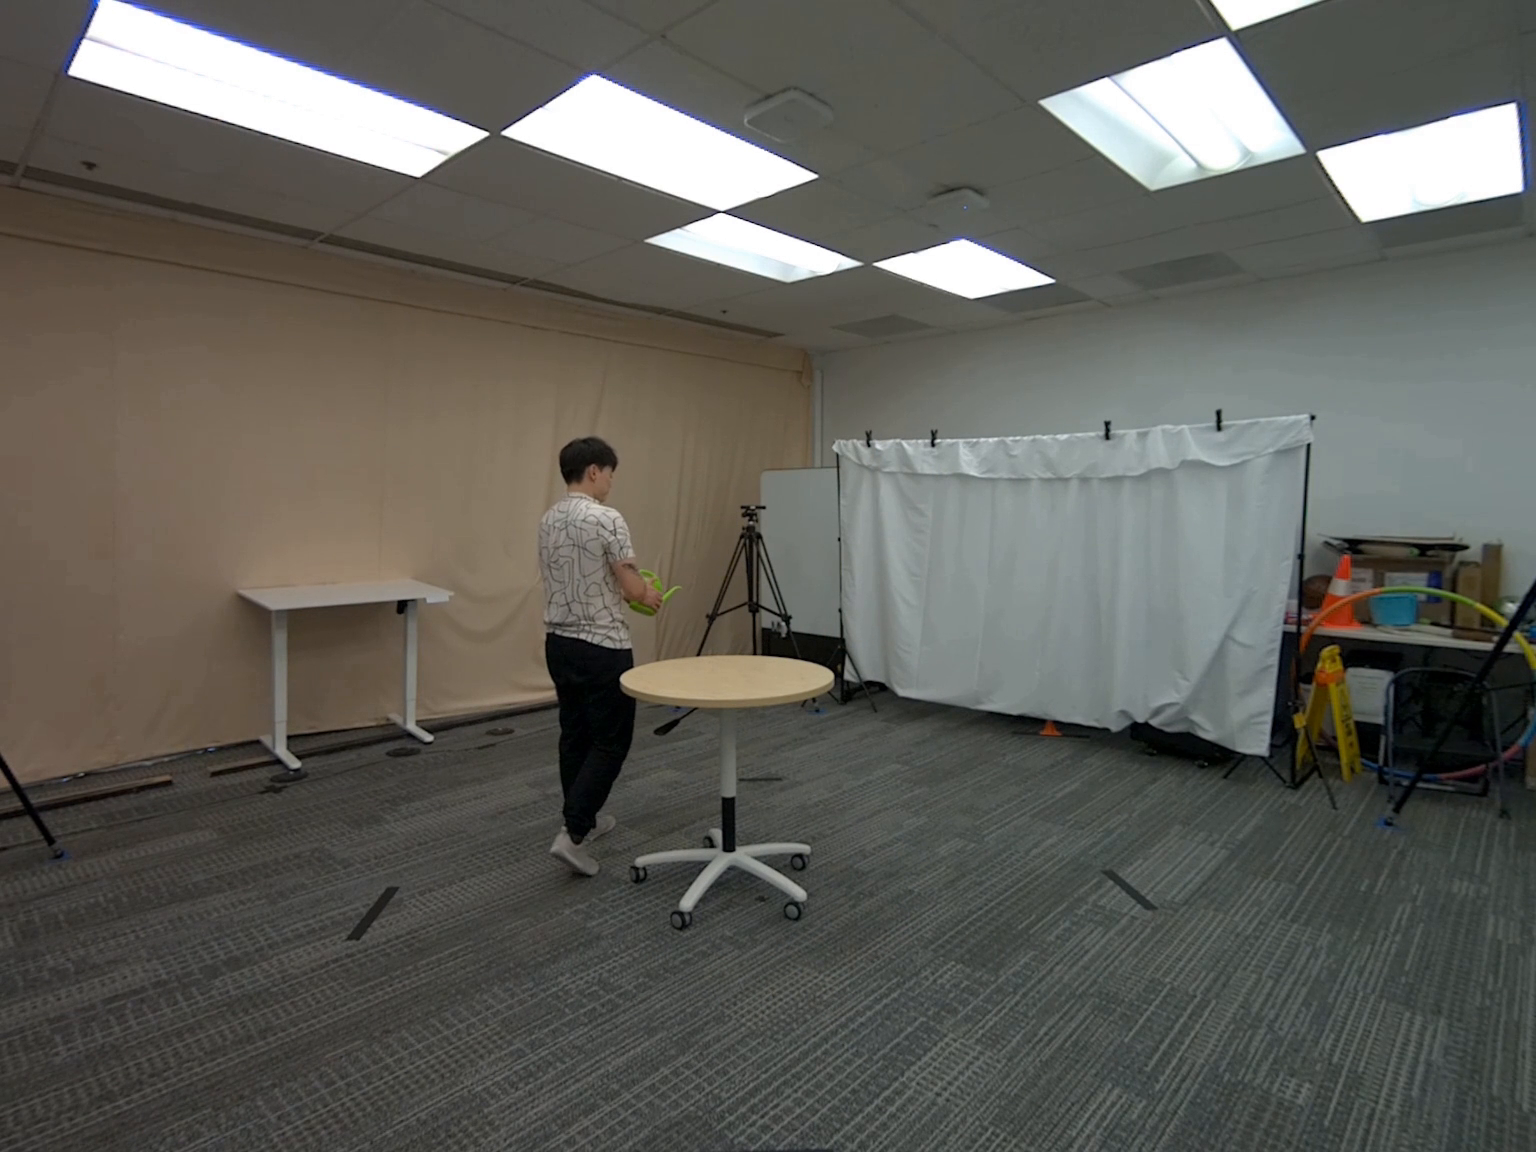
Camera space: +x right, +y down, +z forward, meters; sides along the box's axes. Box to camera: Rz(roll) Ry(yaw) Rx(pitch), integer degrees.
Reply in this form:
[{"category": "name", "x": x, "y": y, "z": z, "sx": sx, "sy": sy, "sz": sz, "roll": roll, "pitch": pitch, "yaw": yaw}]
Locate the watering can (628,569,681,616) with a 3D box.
[{"category": "watering can", "x": -0.490, "y": 0.091, "z": 3.638, "sx": 0.270, "sy": 0.178, "sz": 0.100, "roll": 22, "pitch": -22, "yaw": -28}]
